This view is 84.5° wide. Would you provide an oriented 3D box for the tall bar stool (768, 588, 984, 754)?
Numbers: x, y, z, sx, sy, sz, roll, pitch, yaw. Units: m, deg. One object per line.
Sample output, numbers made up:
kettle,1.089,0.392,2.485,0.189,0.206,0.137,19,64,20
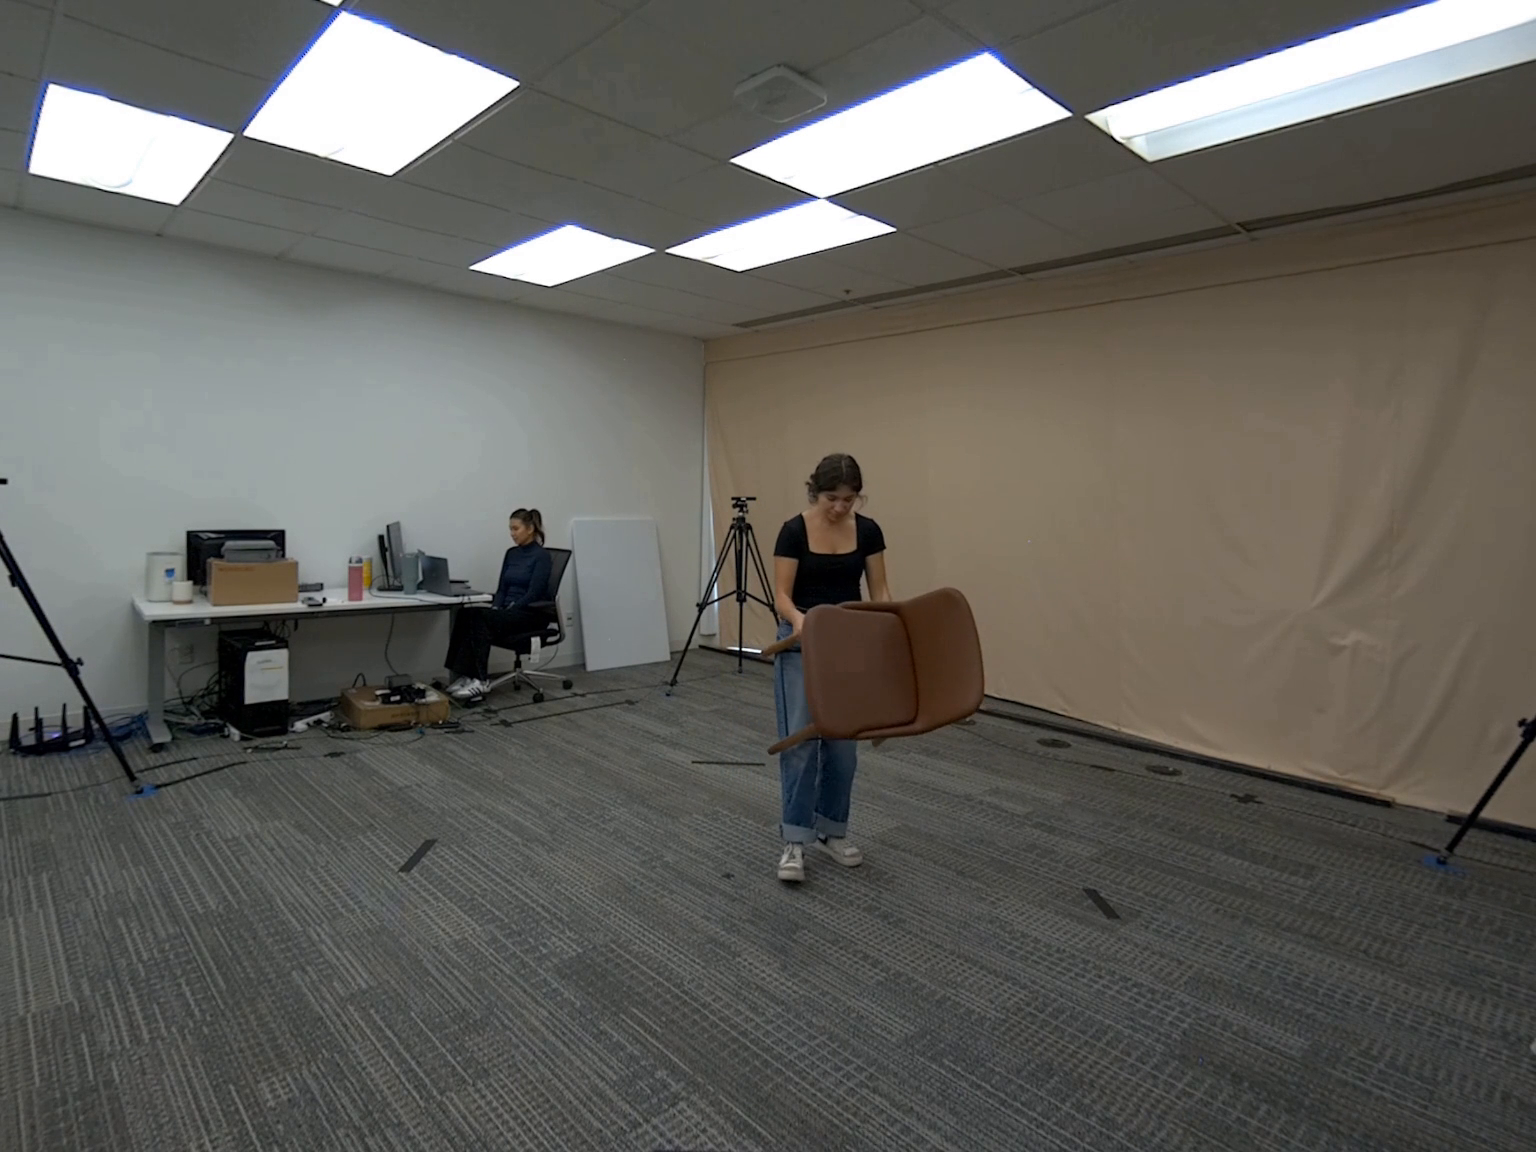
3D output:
tall bar stool,0.299,0.359,2.918,0.462,0.463,0.886,1,-19,-15
